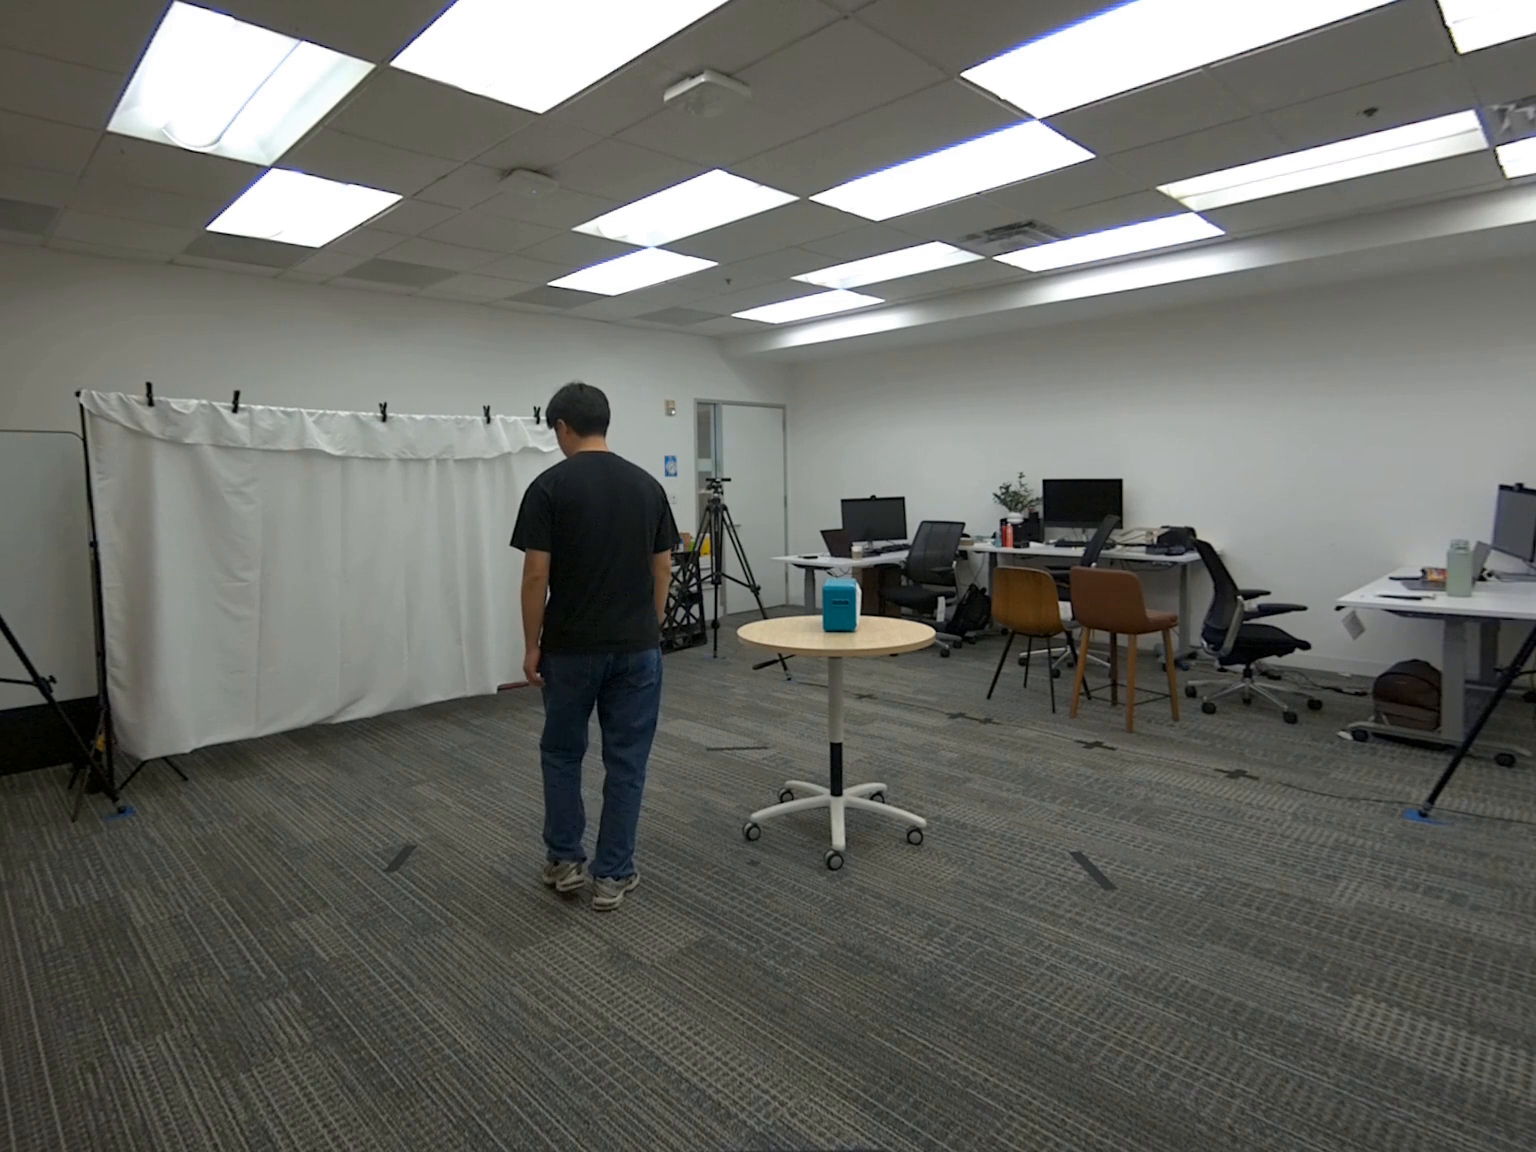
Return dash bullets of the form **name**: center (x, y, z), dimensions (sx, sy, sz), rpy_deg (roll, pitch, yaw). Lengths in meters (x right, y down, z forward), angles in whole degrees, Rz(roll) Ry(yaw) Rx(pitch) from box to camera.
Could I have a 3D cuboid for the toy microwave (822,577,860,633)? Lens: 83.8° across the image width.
- **toy microwave**: center (0.298, 0.107, 3.412), dimensions (0.153, 0.183, 0.285), rpy_deg (-1, 6, 7)
